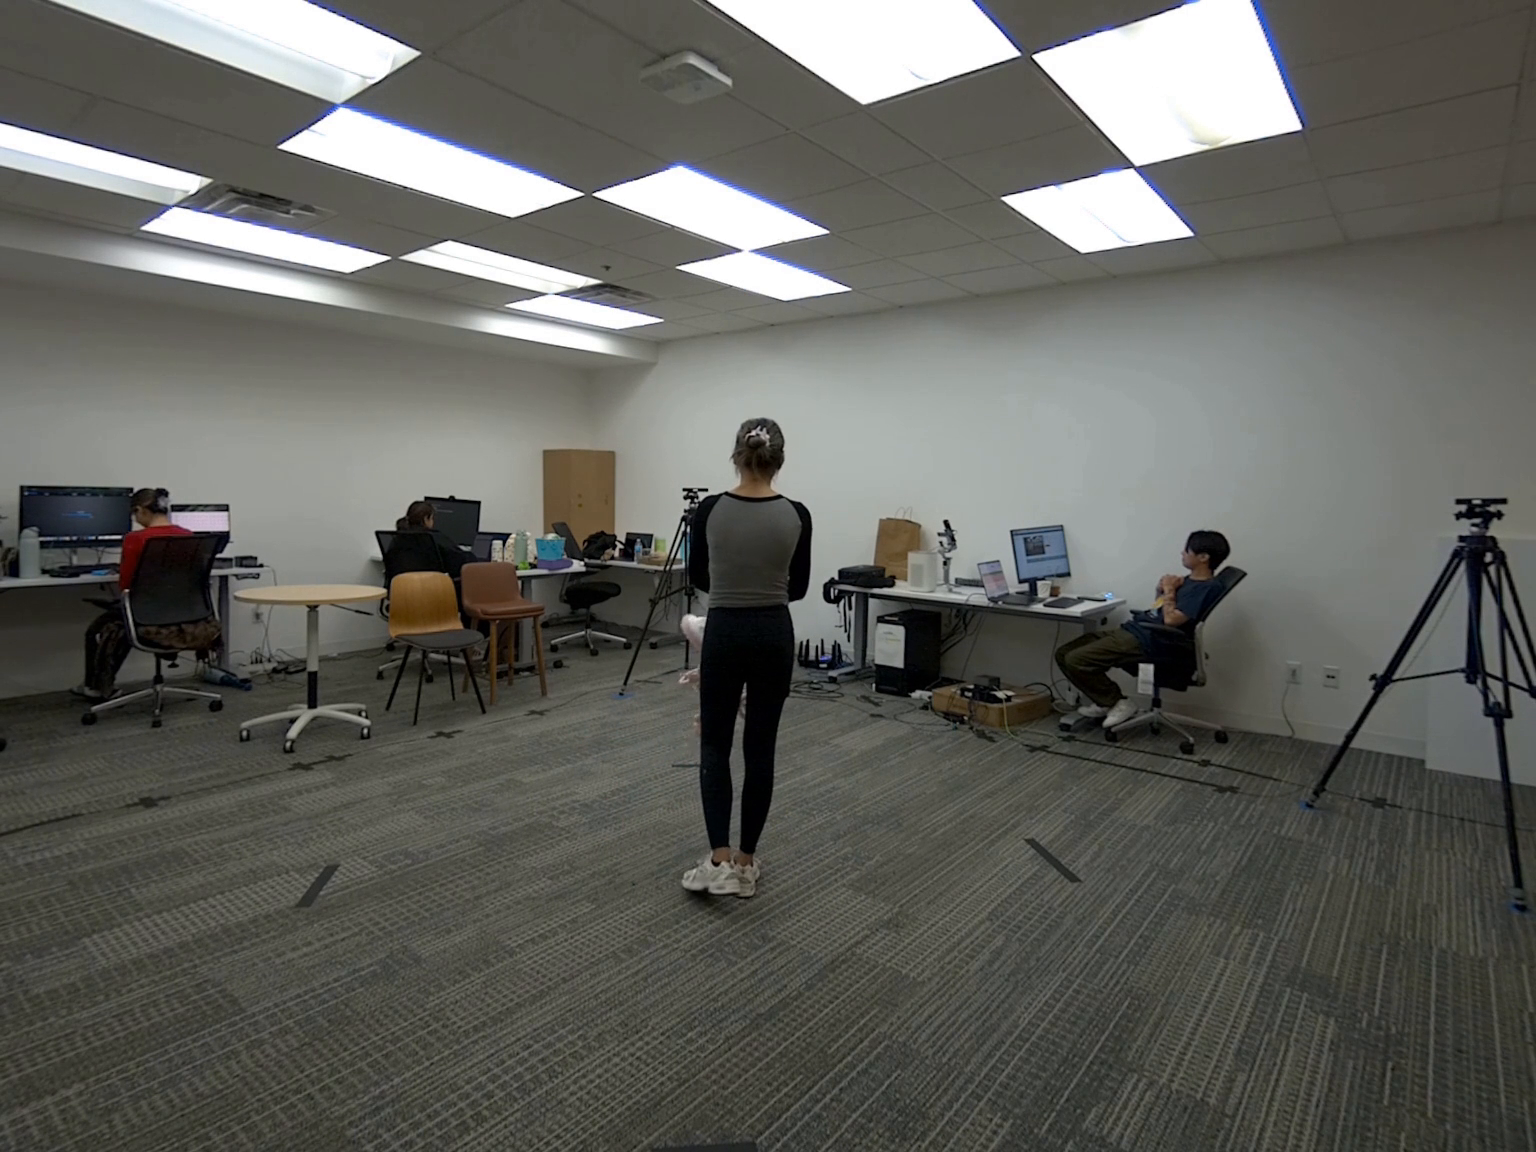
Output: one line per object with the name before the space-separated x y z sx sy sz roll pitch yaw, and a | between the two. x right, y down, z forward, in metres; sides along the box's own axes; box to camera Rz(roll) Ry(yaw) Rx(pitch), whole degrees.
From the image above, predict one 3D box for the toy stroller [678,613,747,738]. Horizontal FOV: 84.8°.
toy stroller | -0.219 0.361 3.389 0.344 0.533 0.280 -17 3 12
